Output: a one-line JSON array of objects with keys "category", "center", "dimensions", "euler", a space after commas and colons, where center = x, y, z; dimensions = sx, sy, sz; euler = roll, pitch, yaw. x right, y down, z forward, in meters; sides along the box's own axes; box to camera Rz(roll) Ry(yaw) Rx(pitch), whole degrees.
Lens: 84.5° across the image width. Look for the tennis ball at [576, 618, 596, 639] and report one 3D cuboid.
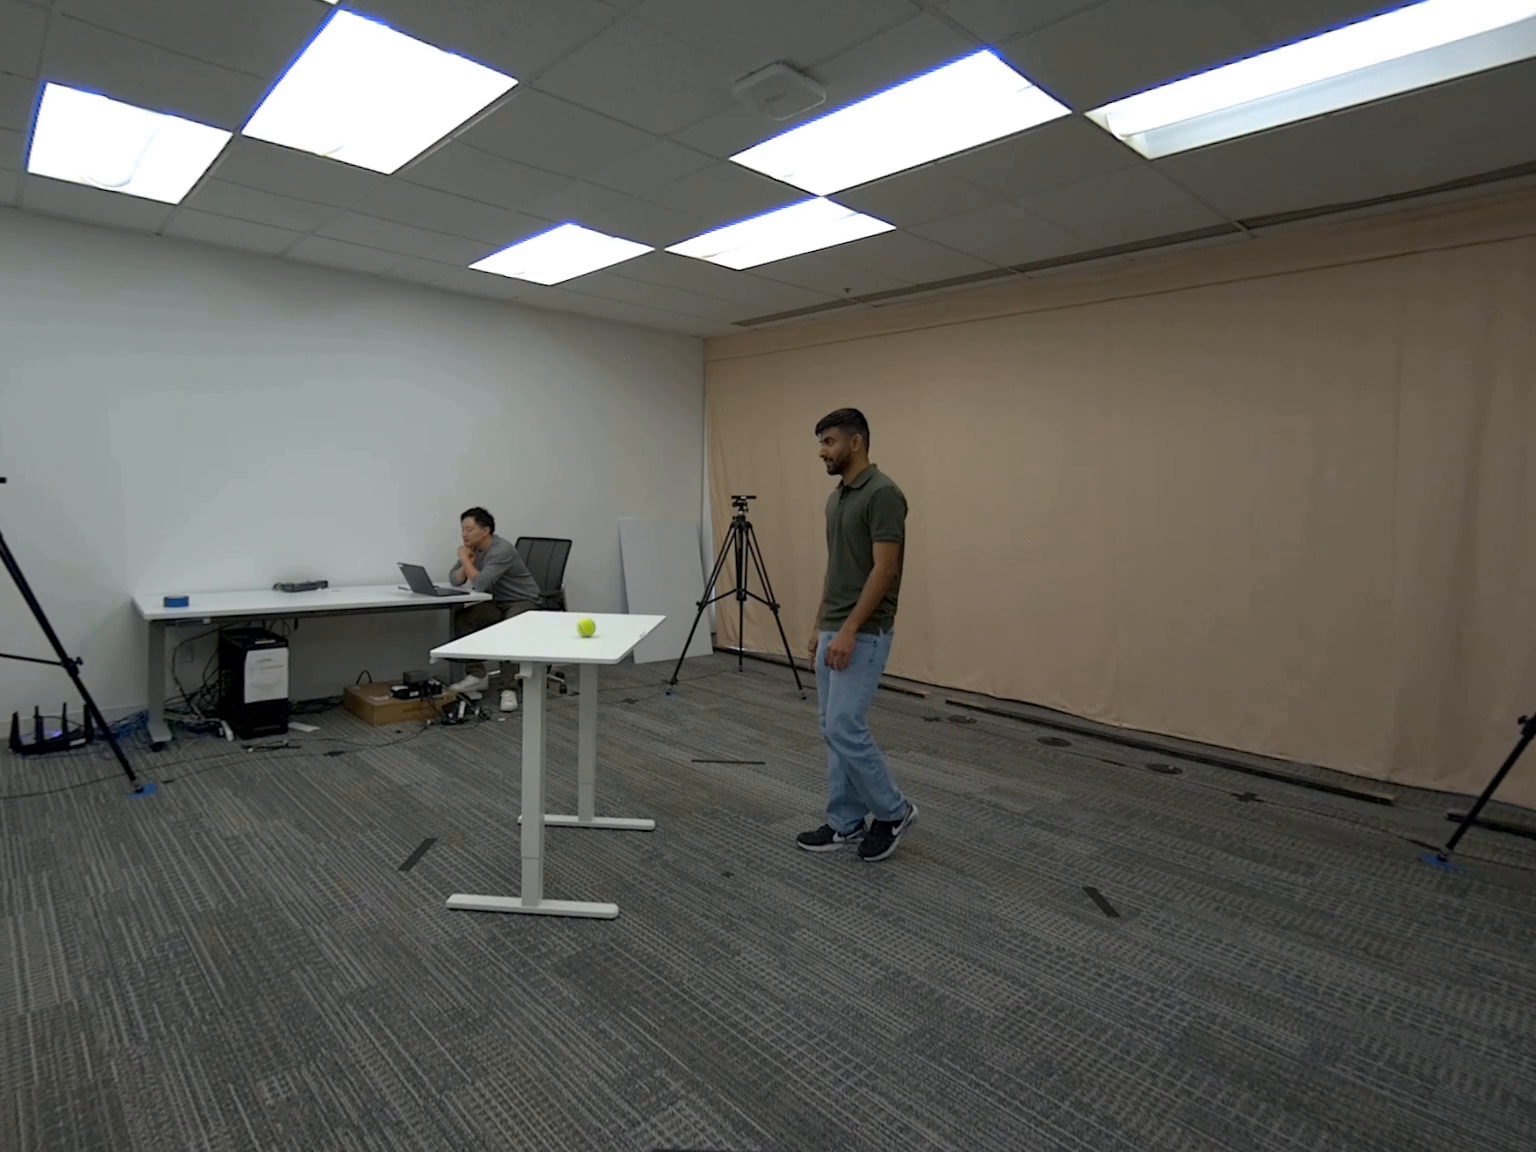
[{"category": "tennis ball", "center": [-0.652, 0.182, 3.000], "dimensions": [0.066, 0.066, 0.067], "euler": [1, 4, -1]}]
